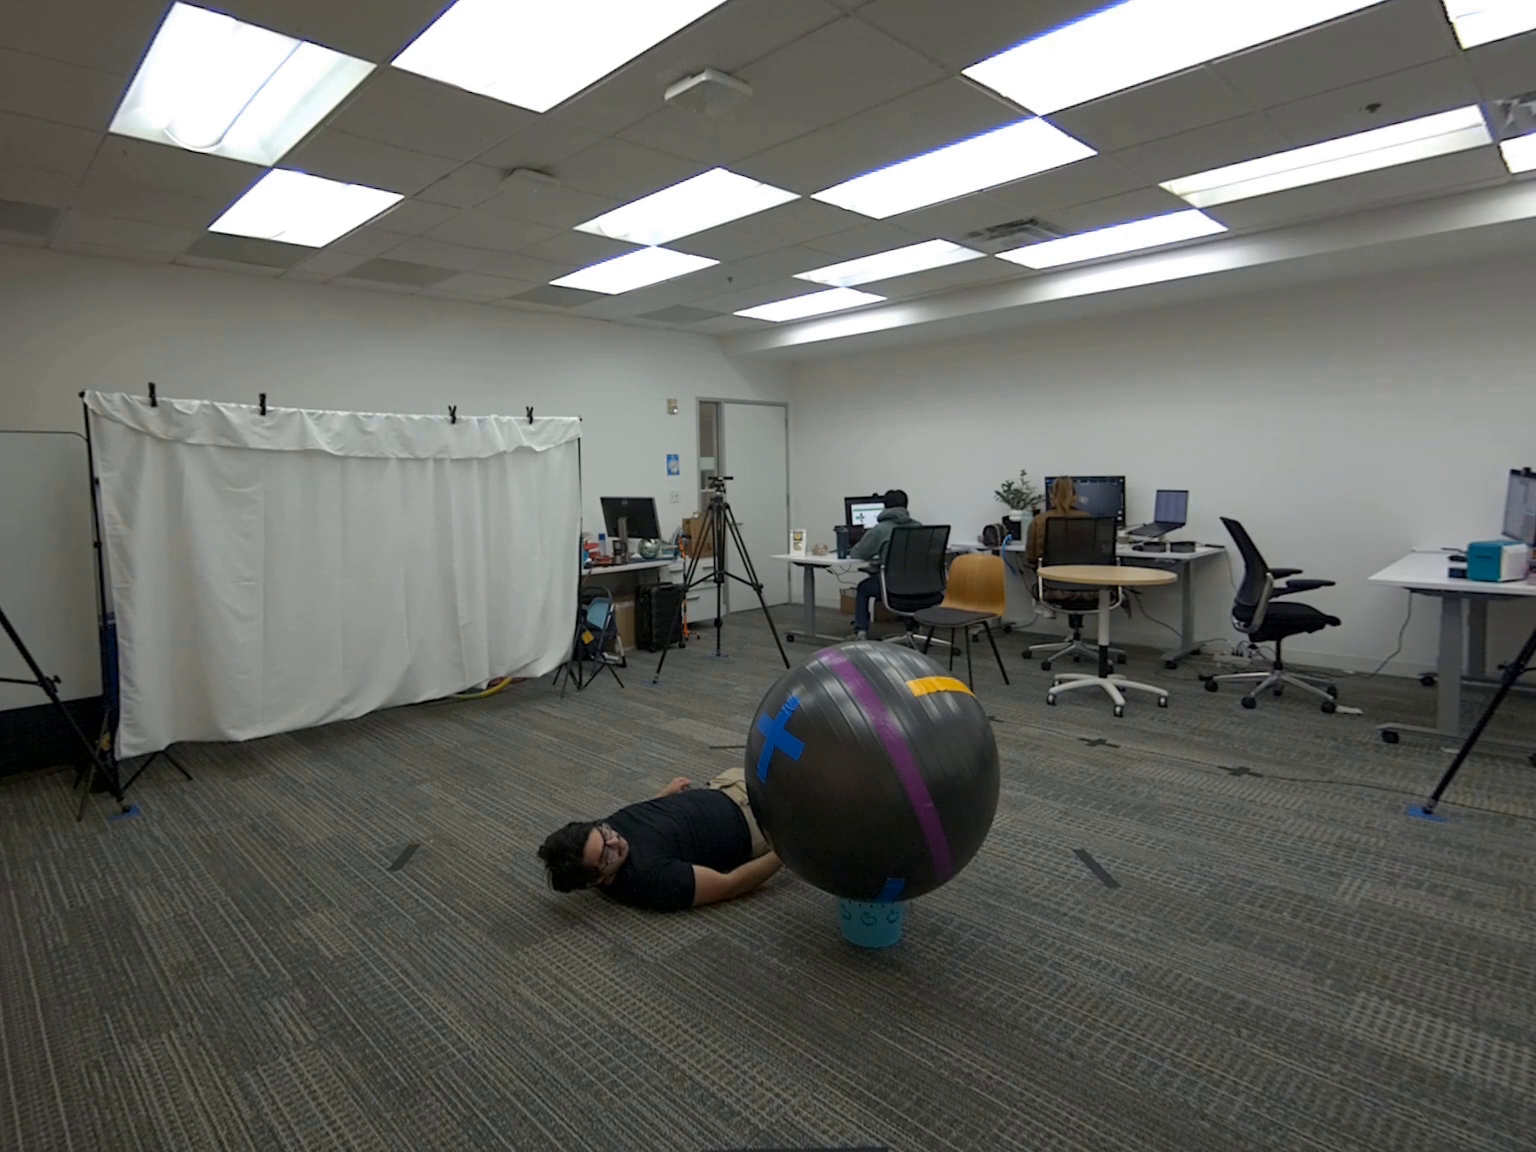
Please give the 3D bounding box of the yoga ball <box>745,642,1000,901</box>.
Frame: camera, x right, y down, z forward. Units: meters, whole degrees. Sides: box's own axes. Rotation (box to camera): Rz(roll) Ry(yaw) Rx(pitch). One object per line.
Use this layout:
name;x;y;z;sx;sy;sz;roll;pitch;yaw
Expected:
yoga ball;0.308;0.580;2.584;0.757;0.755;0.761;-1;4;-2
